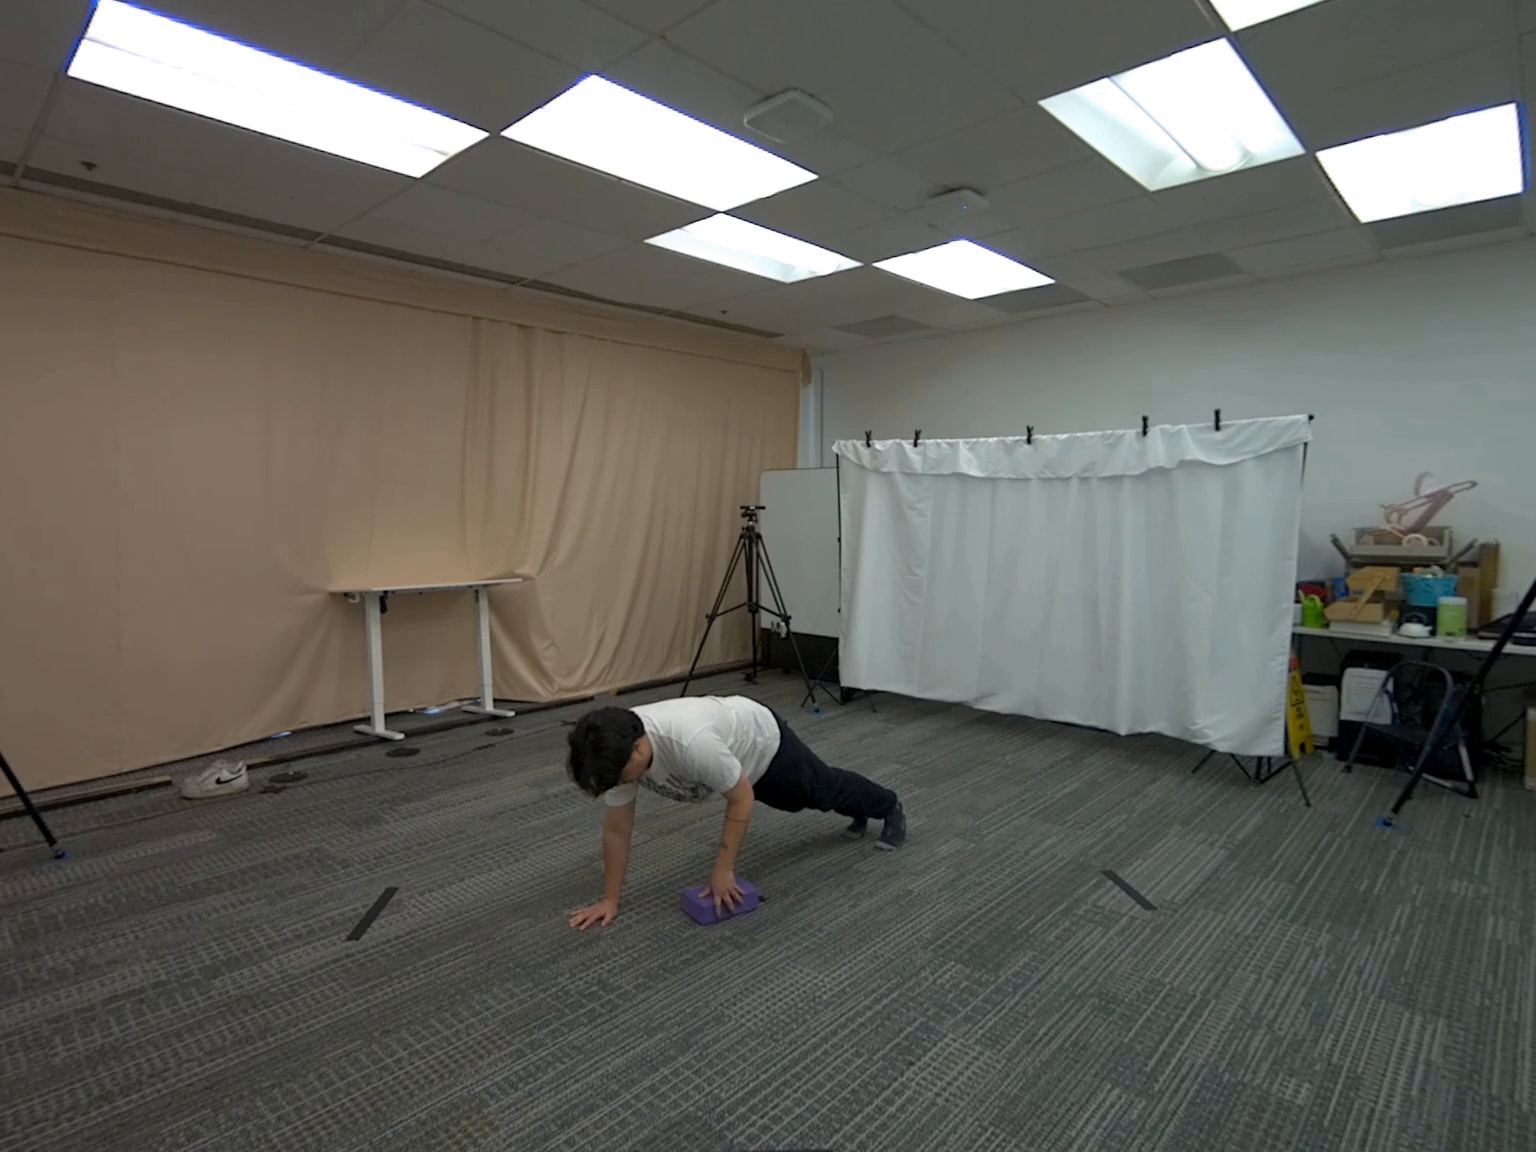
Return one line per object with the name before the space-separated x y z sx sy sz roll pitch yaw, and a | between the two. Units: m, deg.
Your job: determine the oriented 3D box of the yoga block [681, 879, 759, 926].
yoga block | -0.170 1.110 2.910 0.223 0.076 0.153 -4 7 -31
